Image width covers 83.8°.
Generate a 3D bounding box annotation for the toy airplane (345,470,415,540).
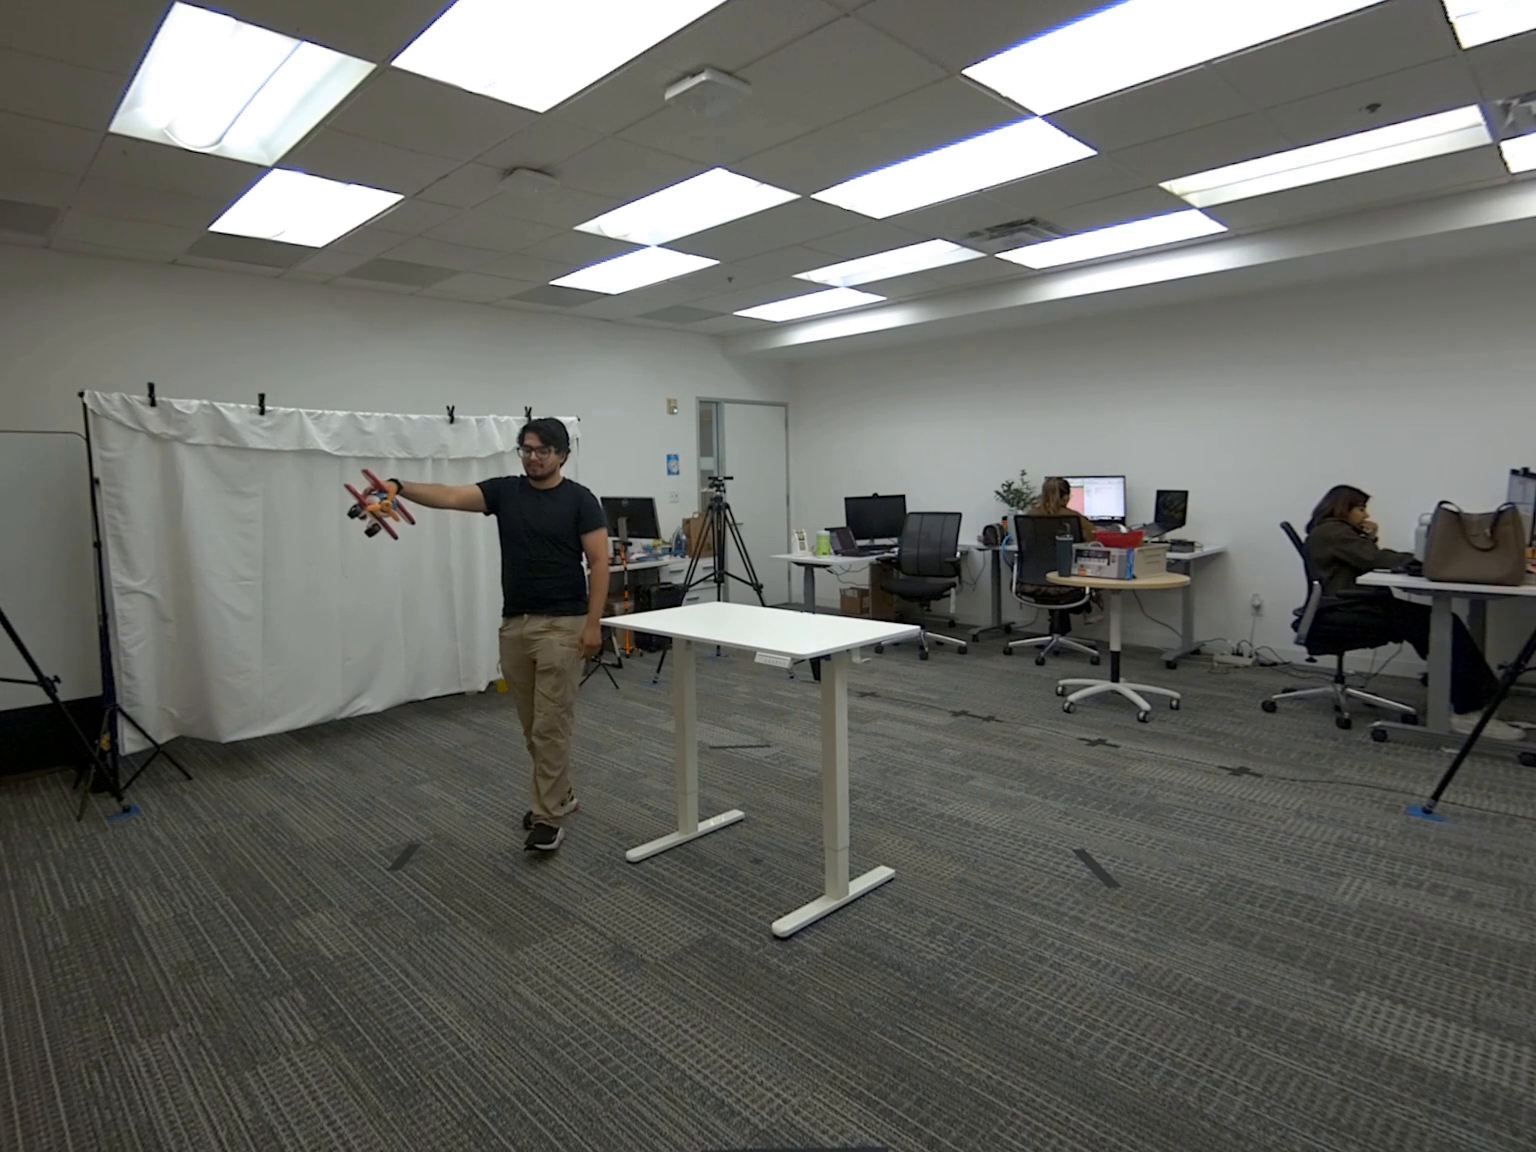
[{"bbox_3d":[-1.387,-0.254,2.988,0.269,0.156,0.242,42,-14,33],"label":"toy airplane"}]
